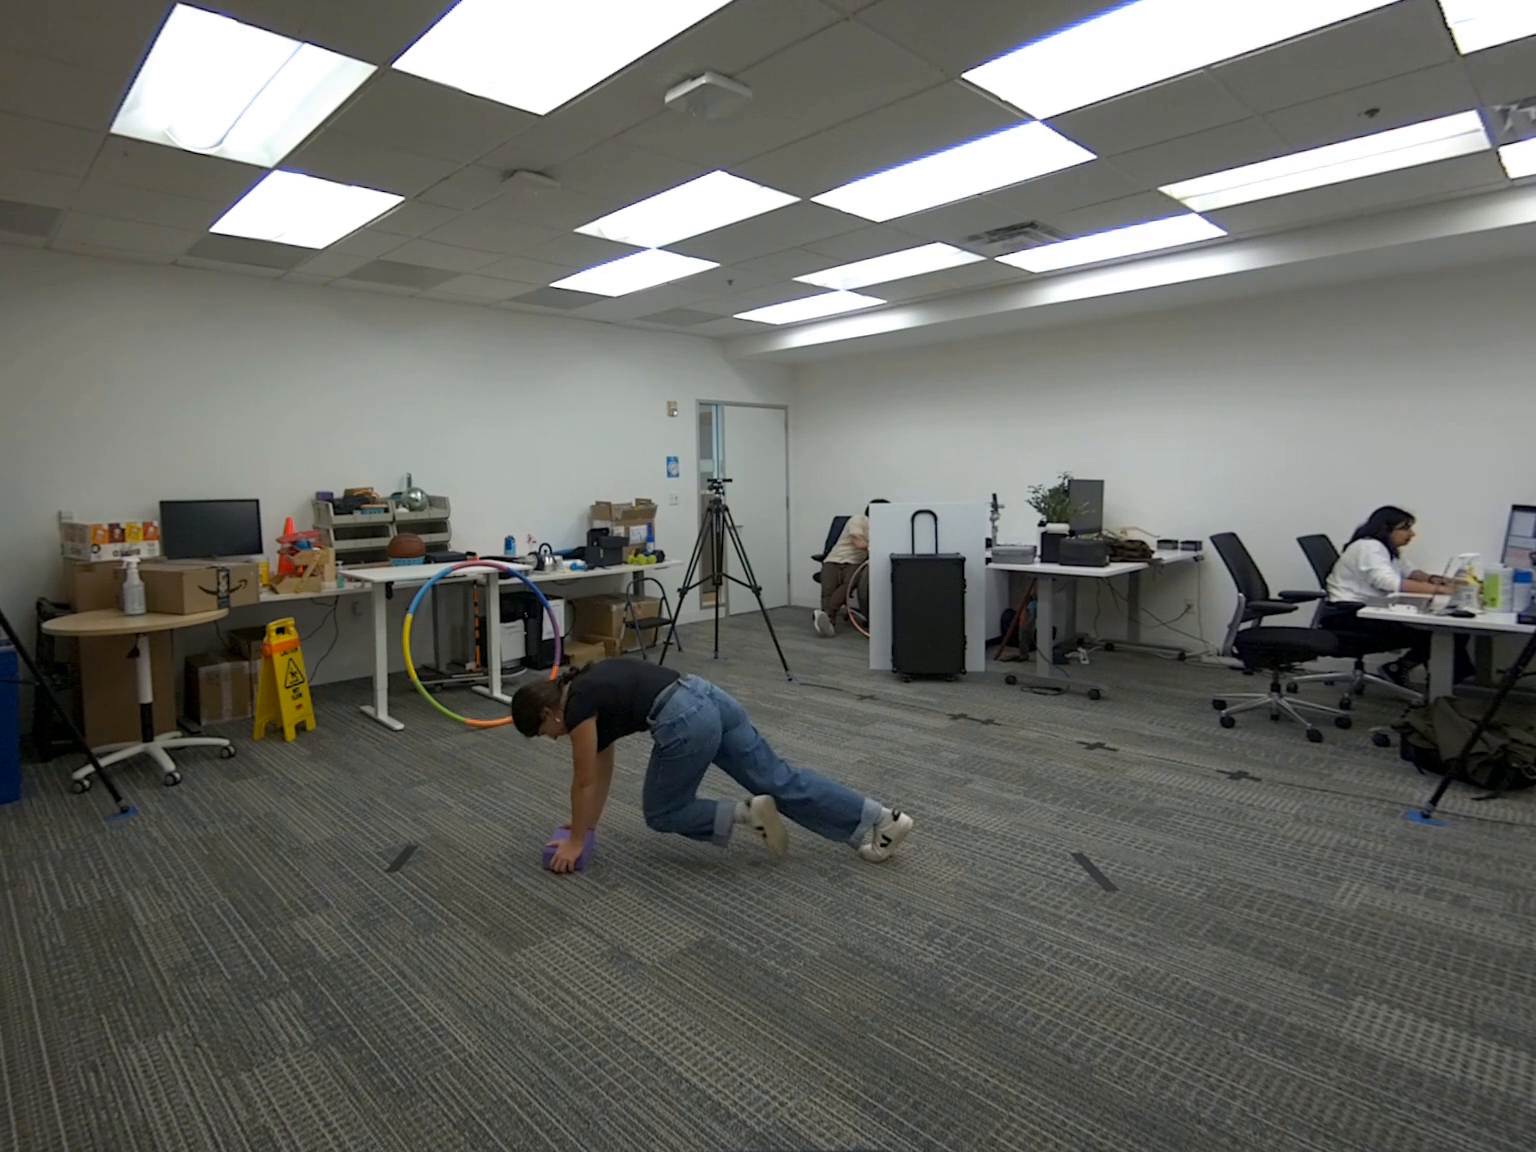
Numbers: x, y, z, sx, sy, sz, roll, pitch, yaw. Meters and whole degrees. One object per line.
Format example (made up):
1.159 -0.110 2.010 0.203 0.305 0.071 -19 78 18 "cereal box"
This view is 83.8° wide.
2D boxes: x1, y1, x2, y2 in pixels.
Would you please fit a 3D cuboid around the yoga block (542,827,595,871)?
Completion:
-0.743 1.012 3.196 0.149 0.076 0.230 0 7 1 "yoga block"
